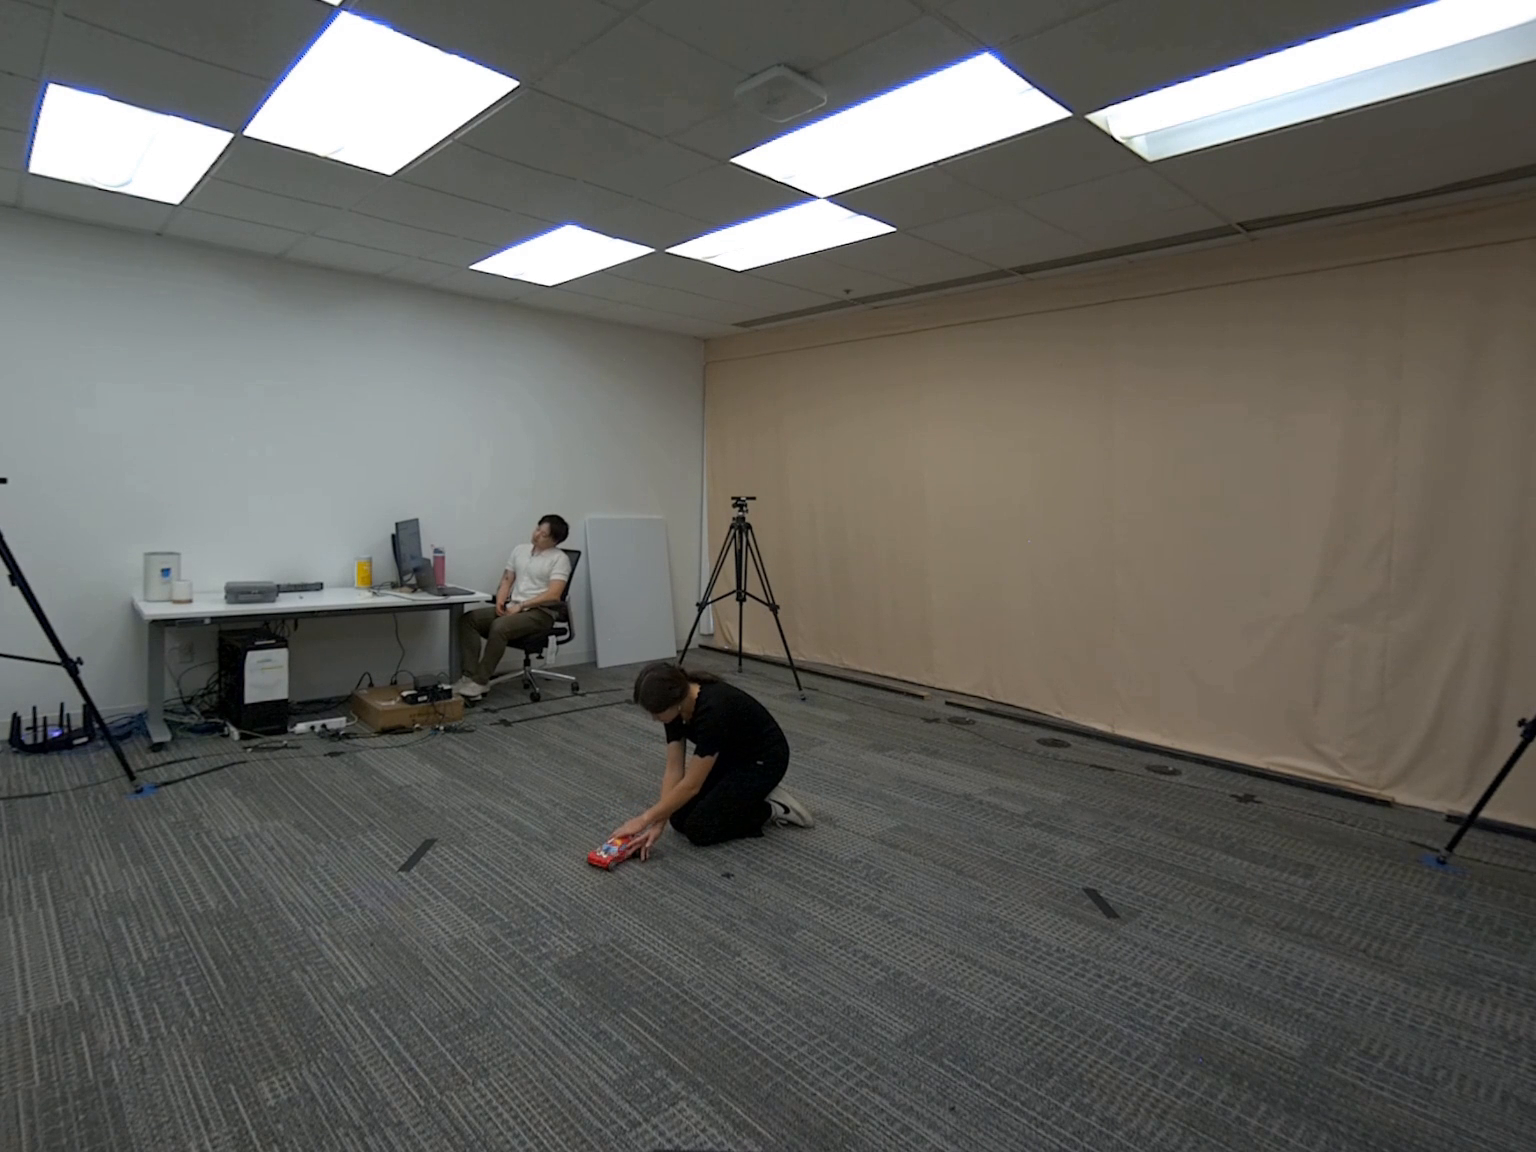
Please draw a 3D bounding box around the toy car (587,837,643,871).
[{"bbox_3d":[-0.582,1.052,3.223,0.133,0.082,0.251,3,16,32],"label":"toy car"}]
